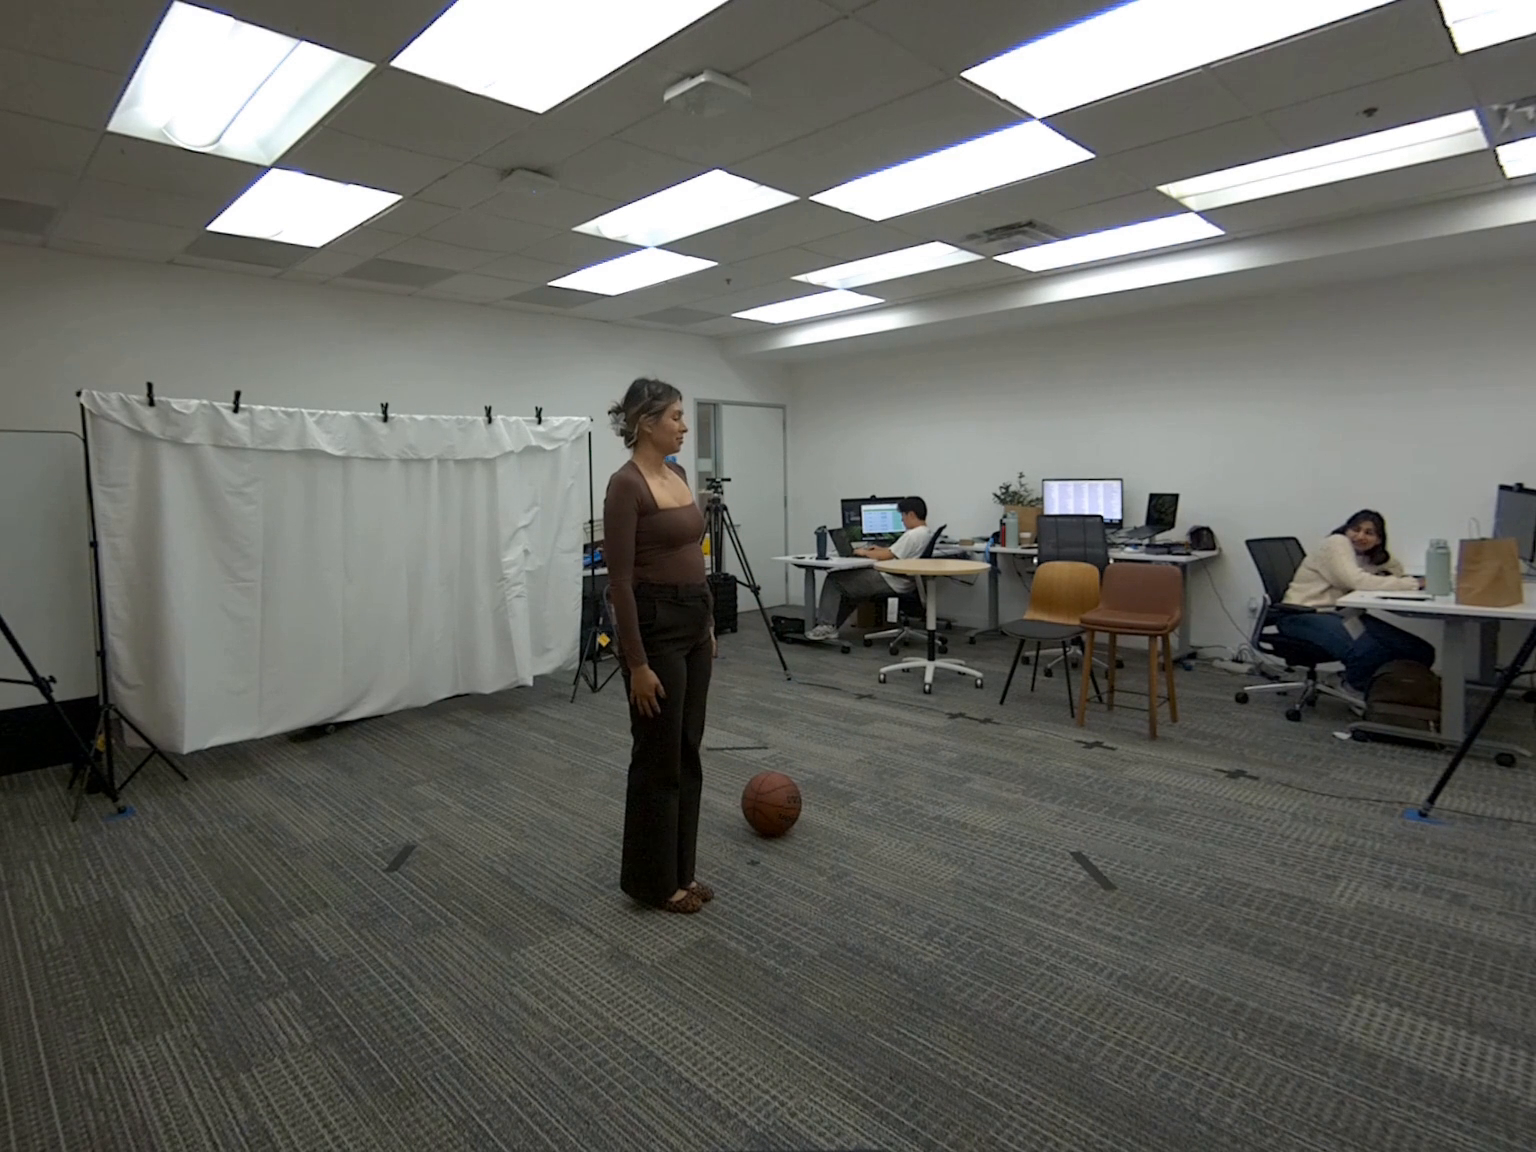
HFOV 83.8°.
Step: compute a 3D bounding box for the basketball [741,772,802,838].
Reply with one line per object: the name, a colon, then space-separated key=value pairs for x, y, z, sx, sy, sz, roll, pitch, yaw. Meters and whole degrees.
basketball: x=0.014 y=0.888 z=3.368 sx=0.236 sy=0.235 sz=0.237 roll=-1 pitch=5 yaw=-2
